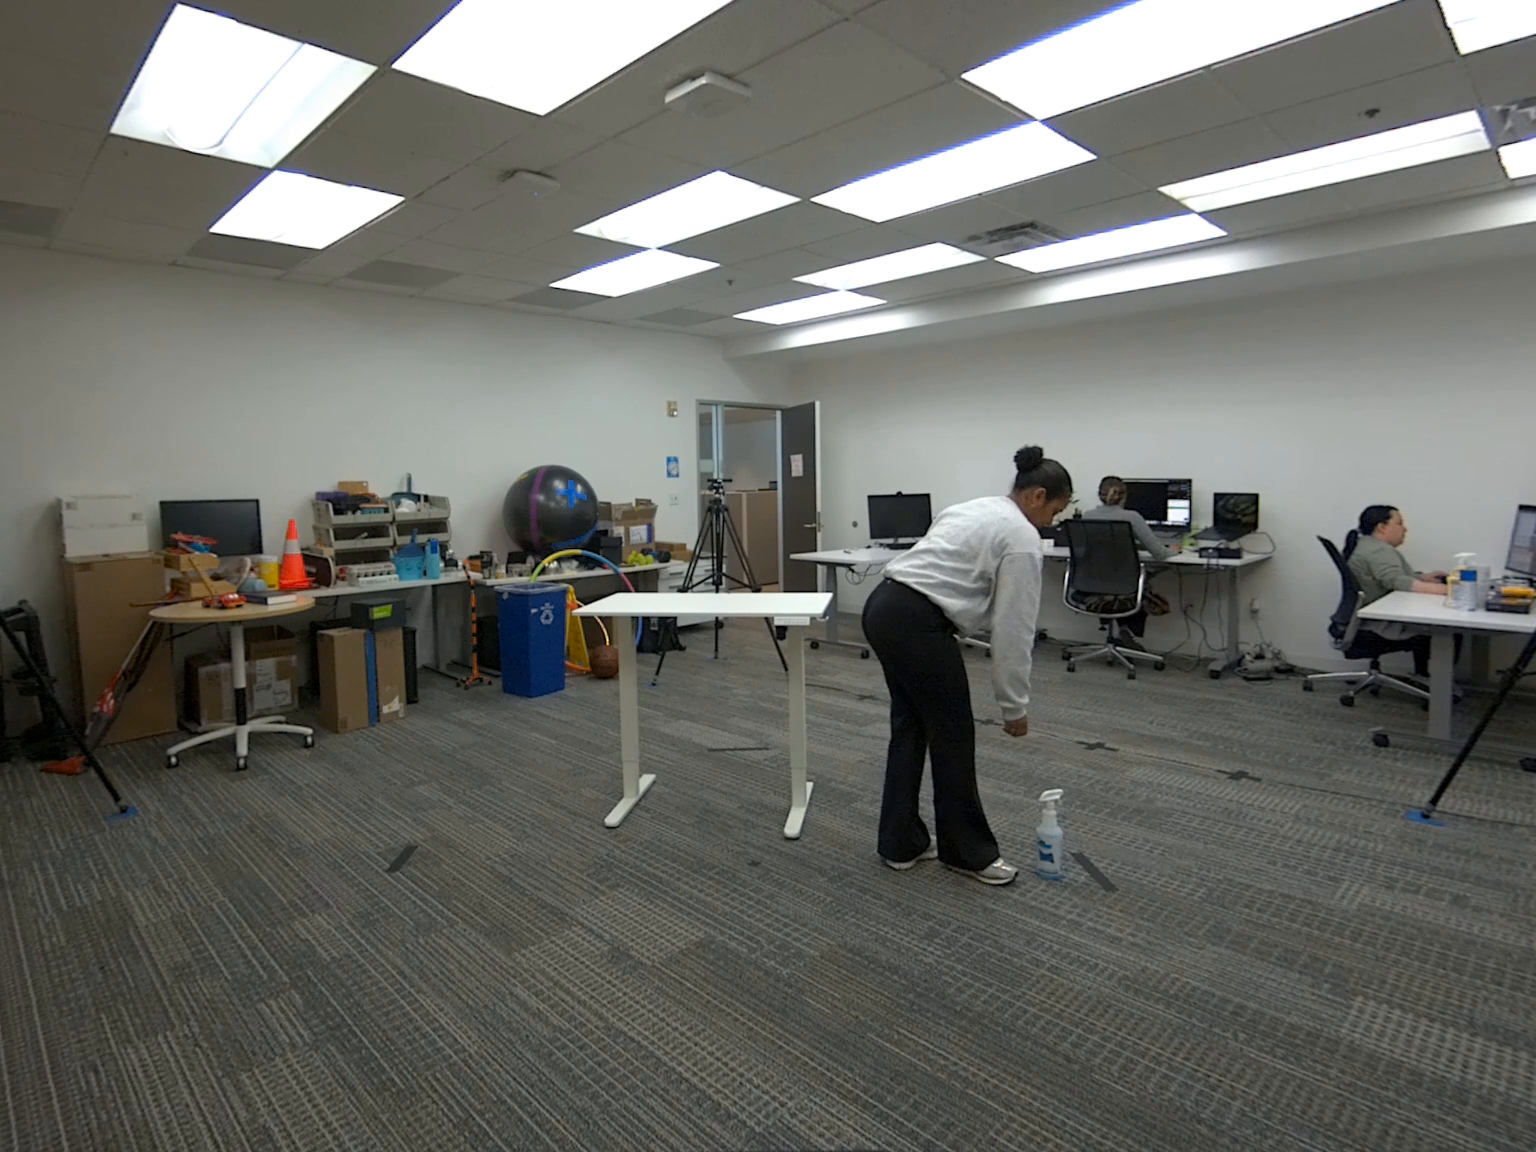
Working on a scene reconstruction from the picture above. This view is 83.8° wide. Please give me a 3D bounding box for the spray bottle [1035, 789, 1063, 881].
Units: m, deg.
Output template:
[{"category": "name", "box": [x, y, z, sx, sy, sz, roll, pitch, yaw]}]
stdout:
[{"category": "spray bottle", "box": [0.979, 0.893, 2.973, 0.091, 0.296, 0.086, 1, 3, 10]}]
